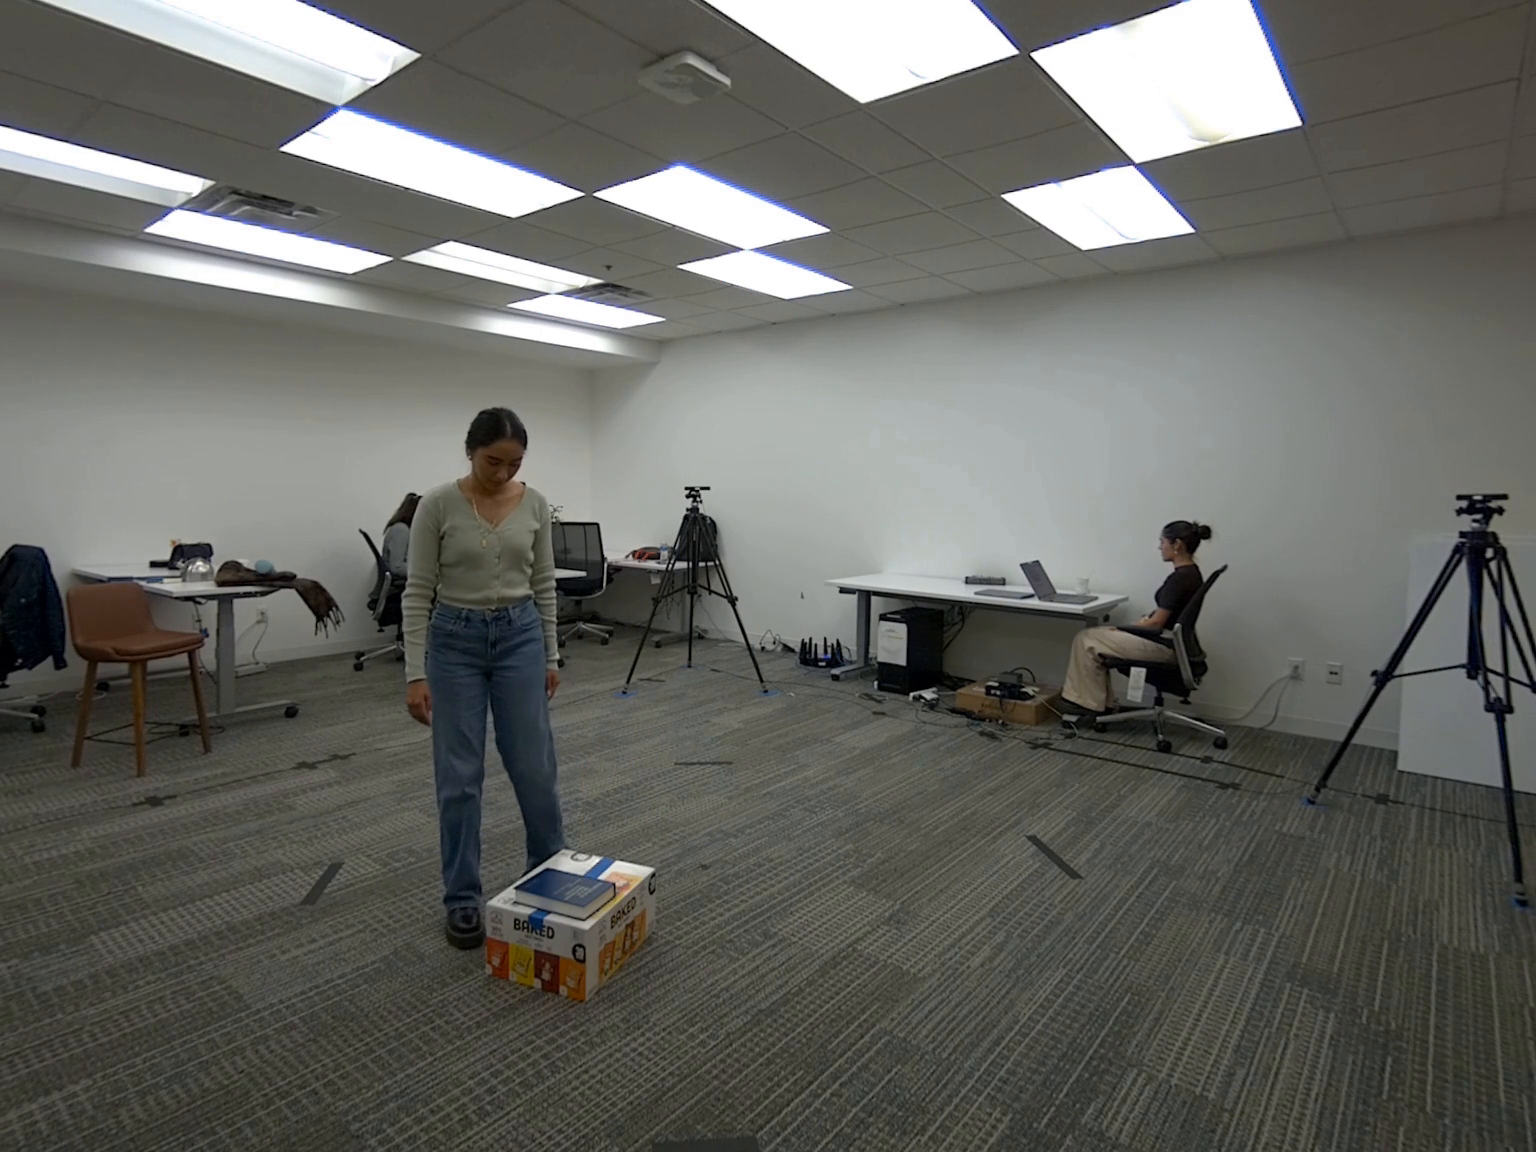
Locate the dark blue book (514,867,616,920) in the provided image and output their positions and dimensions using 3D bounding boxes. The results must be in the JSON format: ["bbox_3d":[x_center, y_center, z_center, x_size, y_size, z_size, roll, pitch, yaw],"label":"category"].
[{"bbox_3d":[-0.592,0.906,2.447,0.251,0.045,0.160,3,6,24],"label":"dark blue book"}]
